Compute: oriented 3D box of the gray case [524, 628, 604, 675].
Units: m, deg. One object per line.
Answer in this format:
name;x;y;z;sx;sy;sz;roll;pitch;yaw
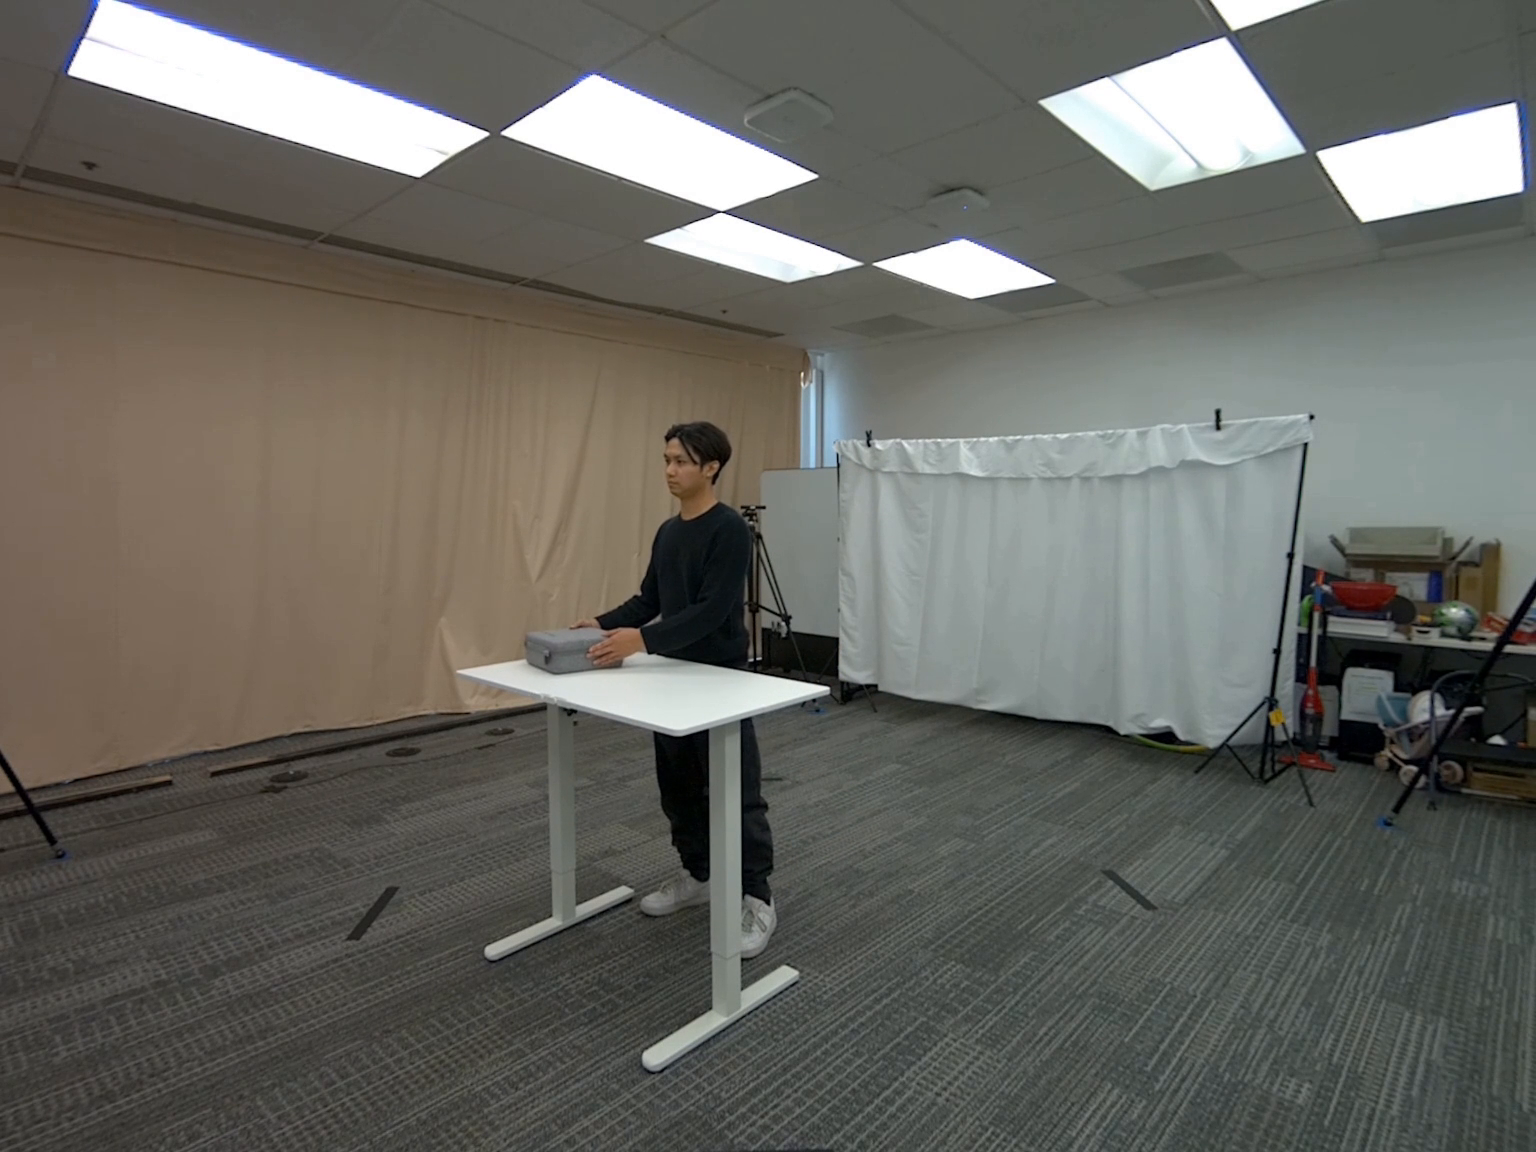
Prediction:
gray case;-0.622;0.238;2.698;0.253;0.104;0.265;-5;6;-39
